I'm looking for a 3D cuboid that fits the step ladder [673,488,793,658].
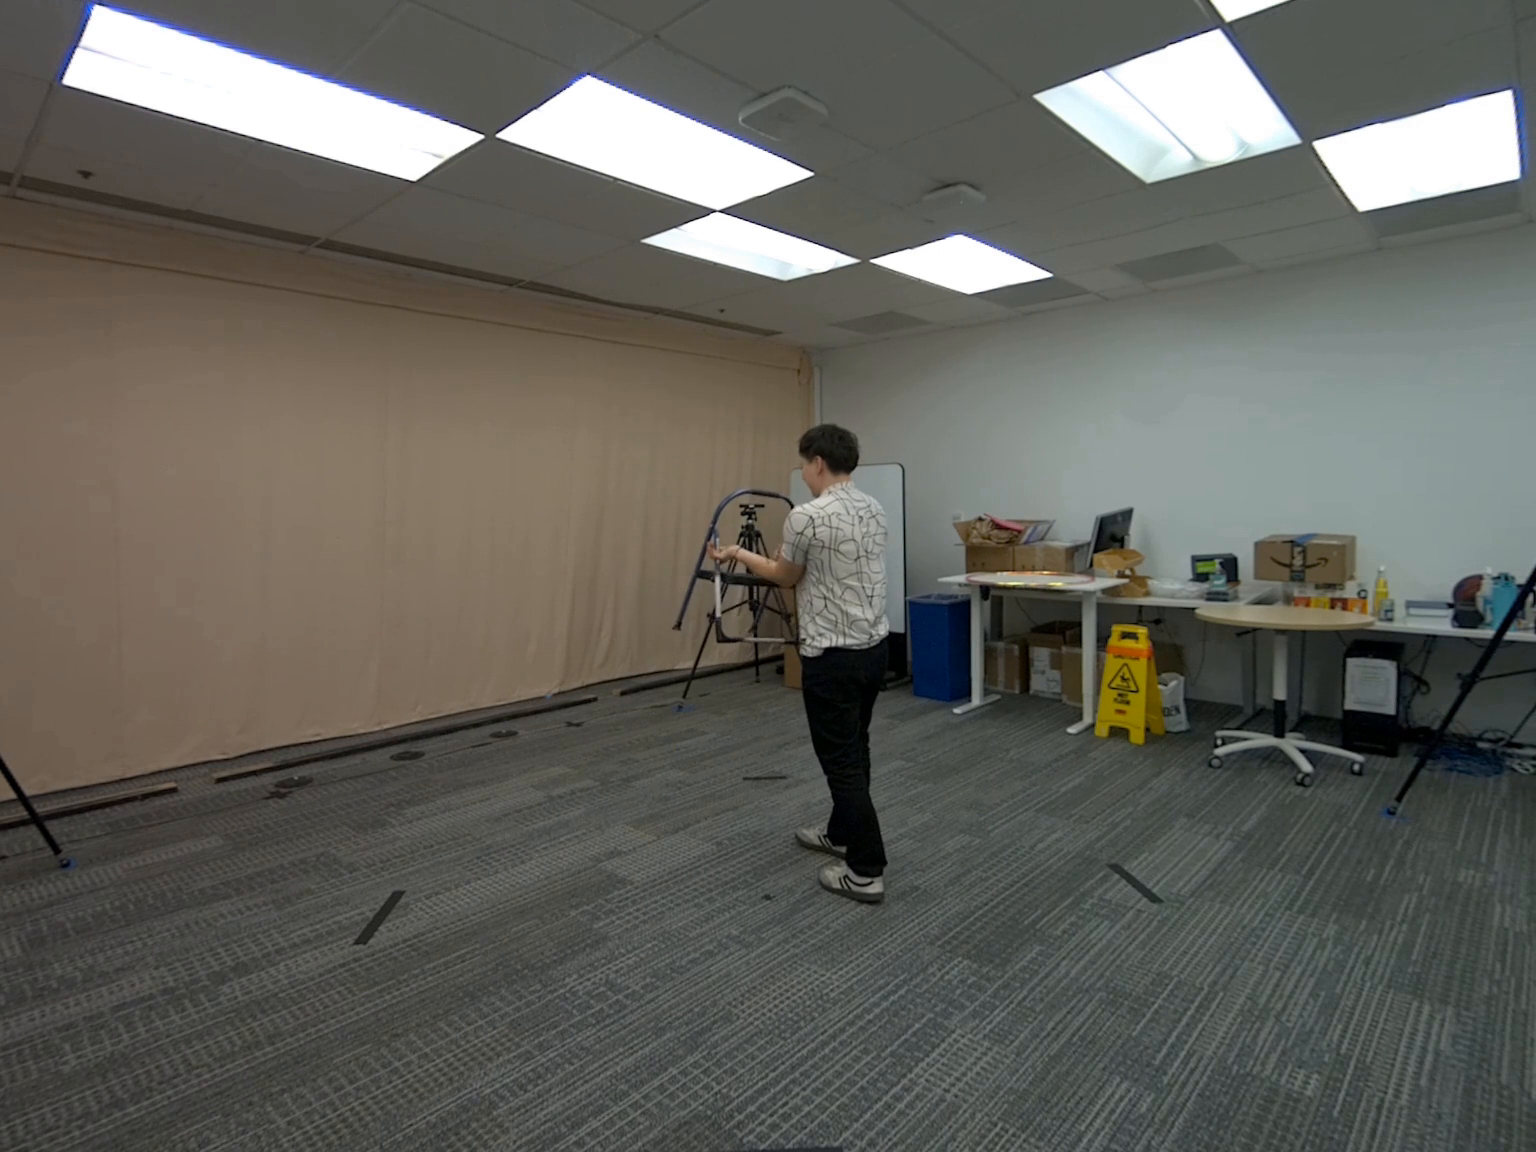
[{"bbox_3d":[-0.087,-0.037,3.448,0.417,0.606,0.360,6,1,-35],"label":"step ladder"}]
